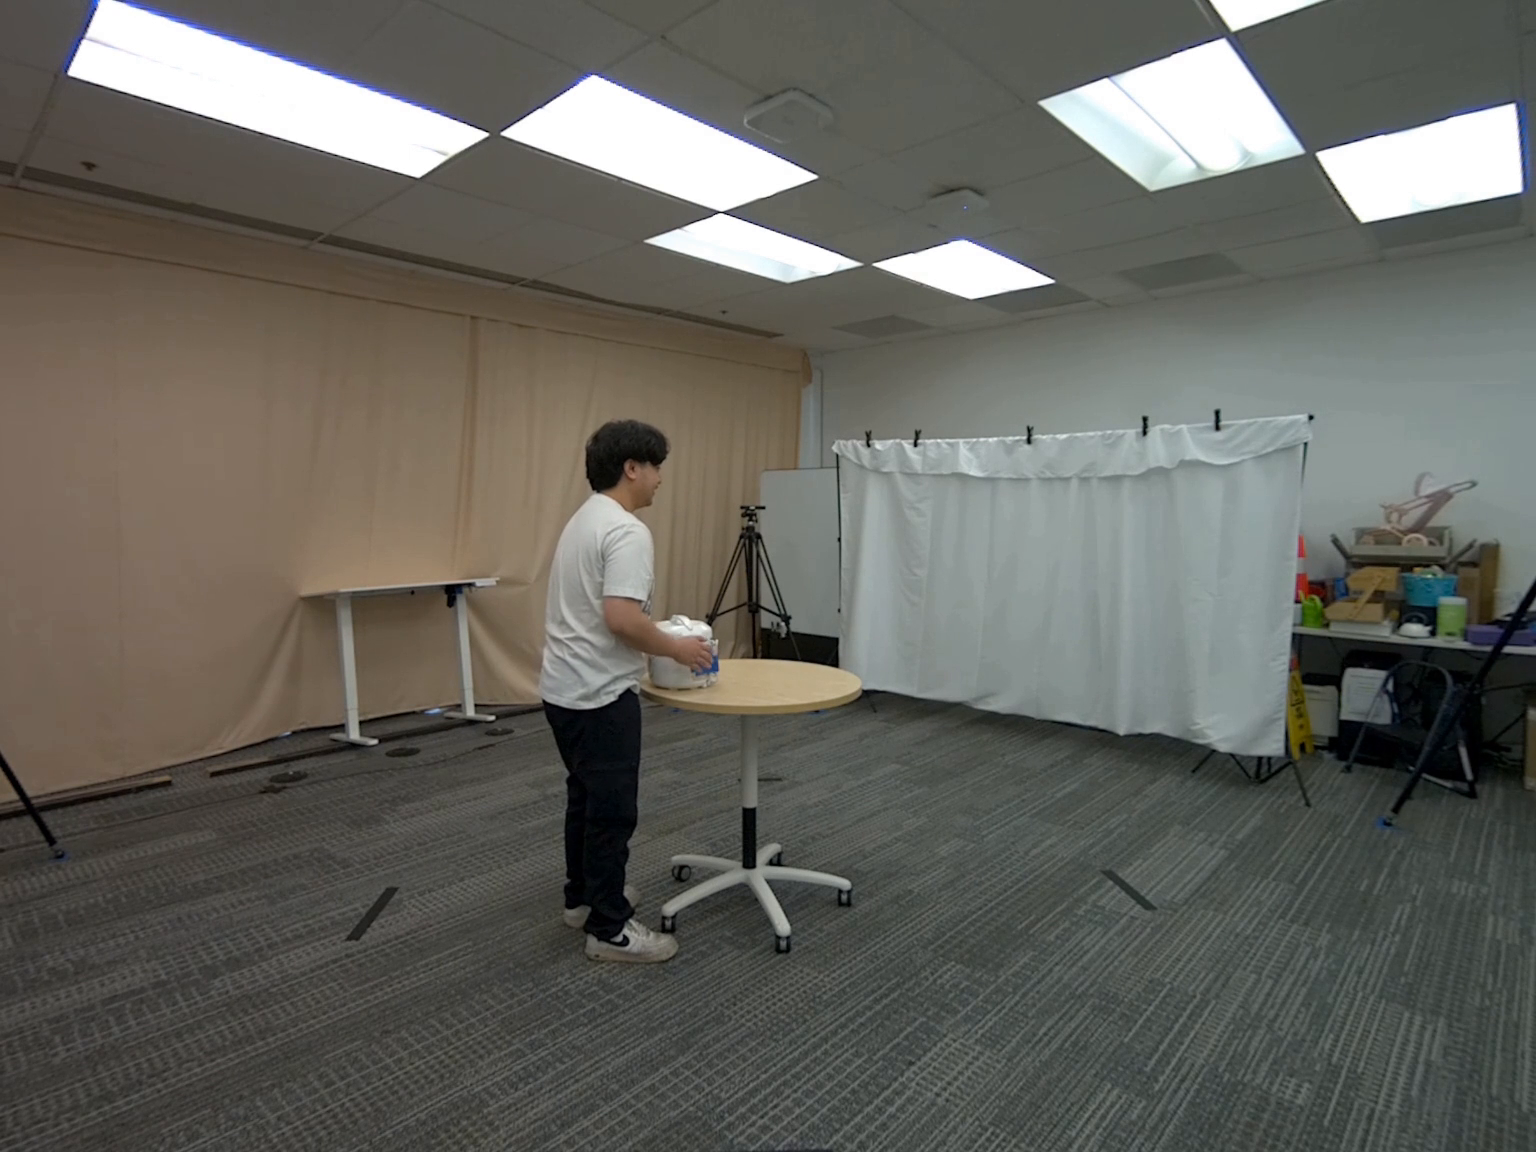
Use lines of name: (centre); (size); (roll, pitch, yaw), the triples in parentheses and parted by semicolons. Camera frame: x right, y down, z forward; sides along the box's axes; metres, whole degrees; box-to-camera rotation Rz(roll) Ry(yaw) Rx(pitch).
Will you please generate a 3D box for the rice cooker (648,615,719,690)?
rice cooker: (-0.287, 0.249, 2.791); (0.212, 0.232, 0.226); (-1, 2, -25)
